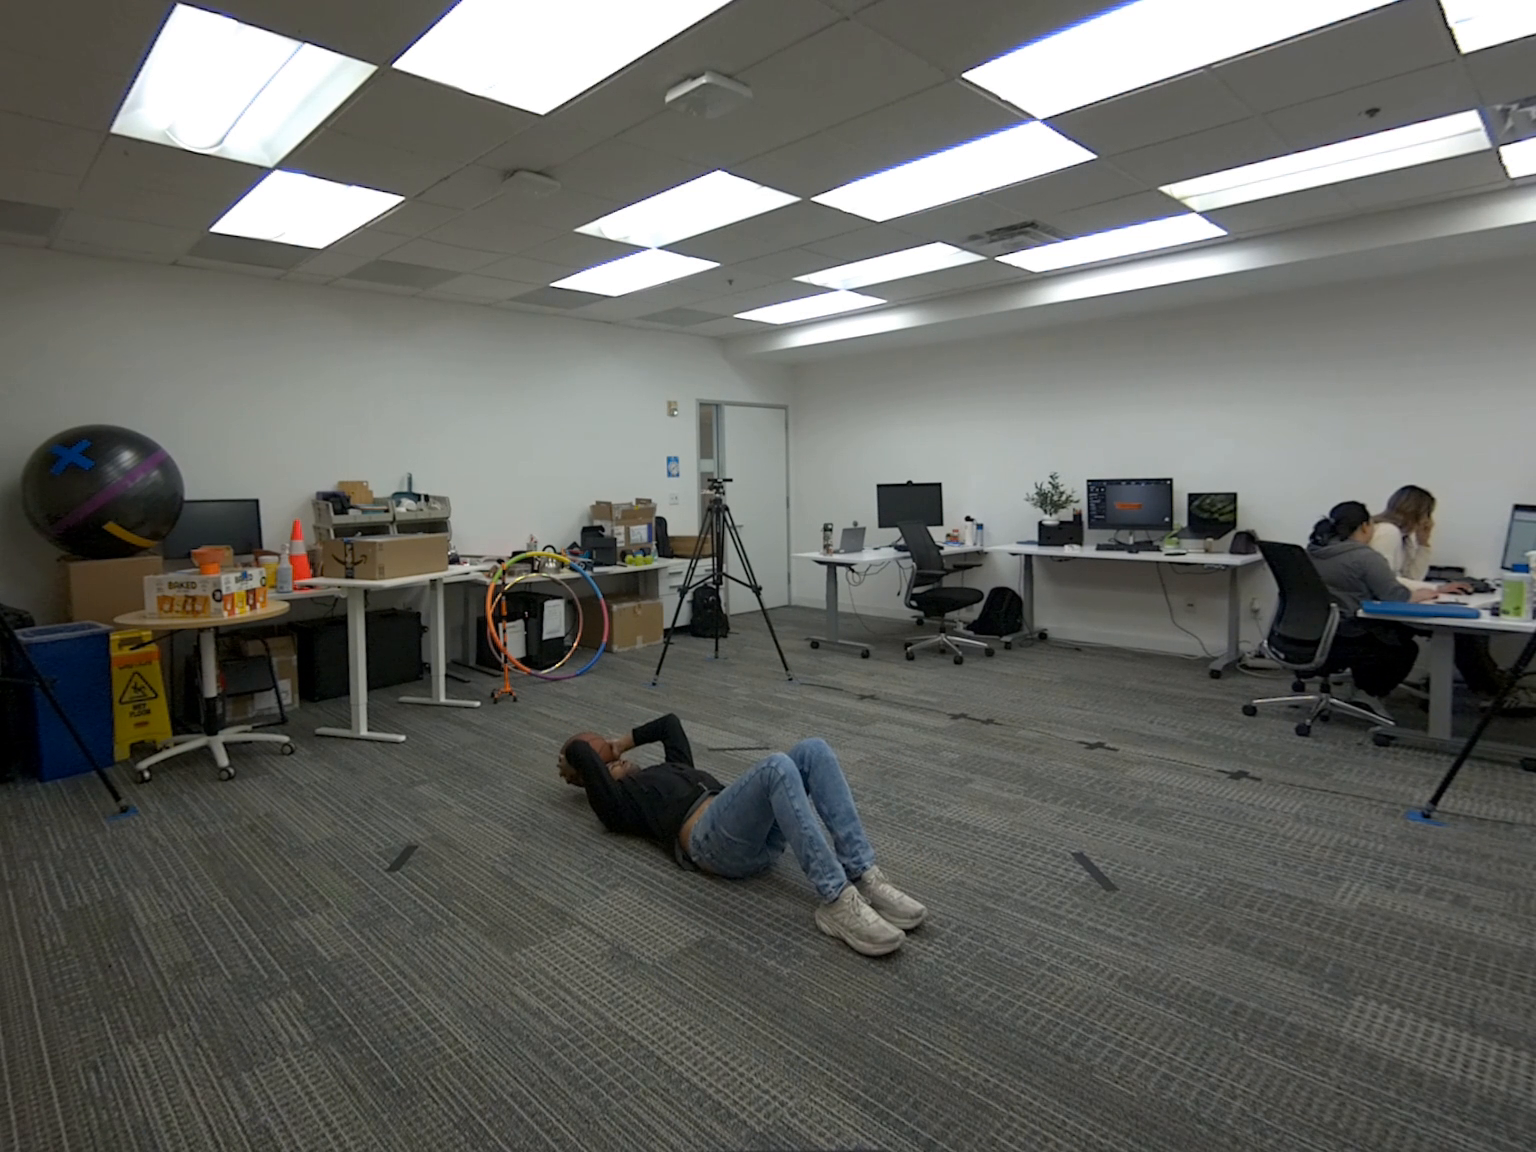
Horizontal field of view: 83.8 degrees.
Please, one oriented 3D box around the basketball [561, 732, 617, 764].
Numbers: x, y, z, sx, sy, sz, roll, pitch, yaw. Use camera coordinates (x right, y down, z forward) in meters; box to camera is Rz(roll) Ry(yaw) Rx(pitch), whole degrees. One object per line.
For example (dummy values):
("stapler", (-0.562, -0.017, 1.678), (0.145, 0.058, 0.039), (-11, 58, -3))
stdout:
("basketball", (-0.807, 0.816, 3.811), (0.236, 0.235, 0.237), (-1, 5, -2))
